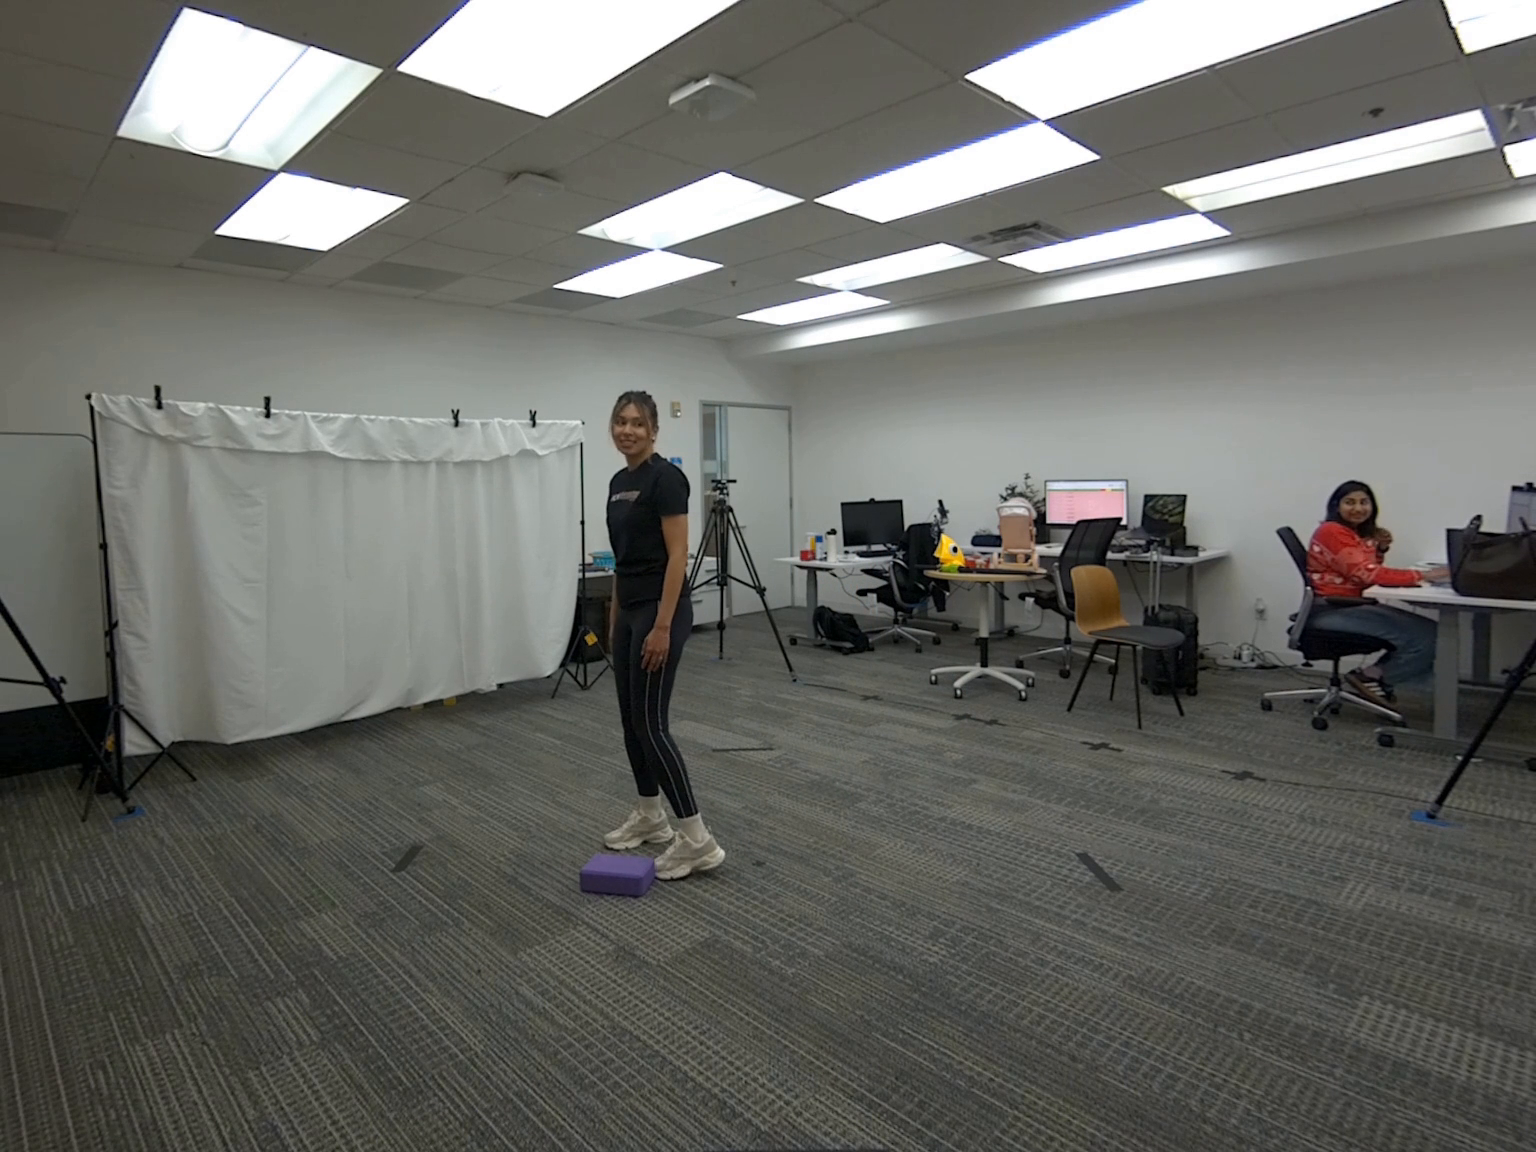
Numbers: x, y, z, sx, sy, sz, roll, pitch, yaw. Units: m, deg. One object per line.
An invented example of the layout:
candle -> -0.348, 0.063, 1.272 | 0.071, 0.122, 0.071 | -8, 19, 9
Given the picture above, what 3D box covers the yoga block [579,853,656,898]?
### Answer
yoga block -> -0.516, 1.033, 2.956 | 0.232, 0.076, 0.148 | 1, 7, 13
